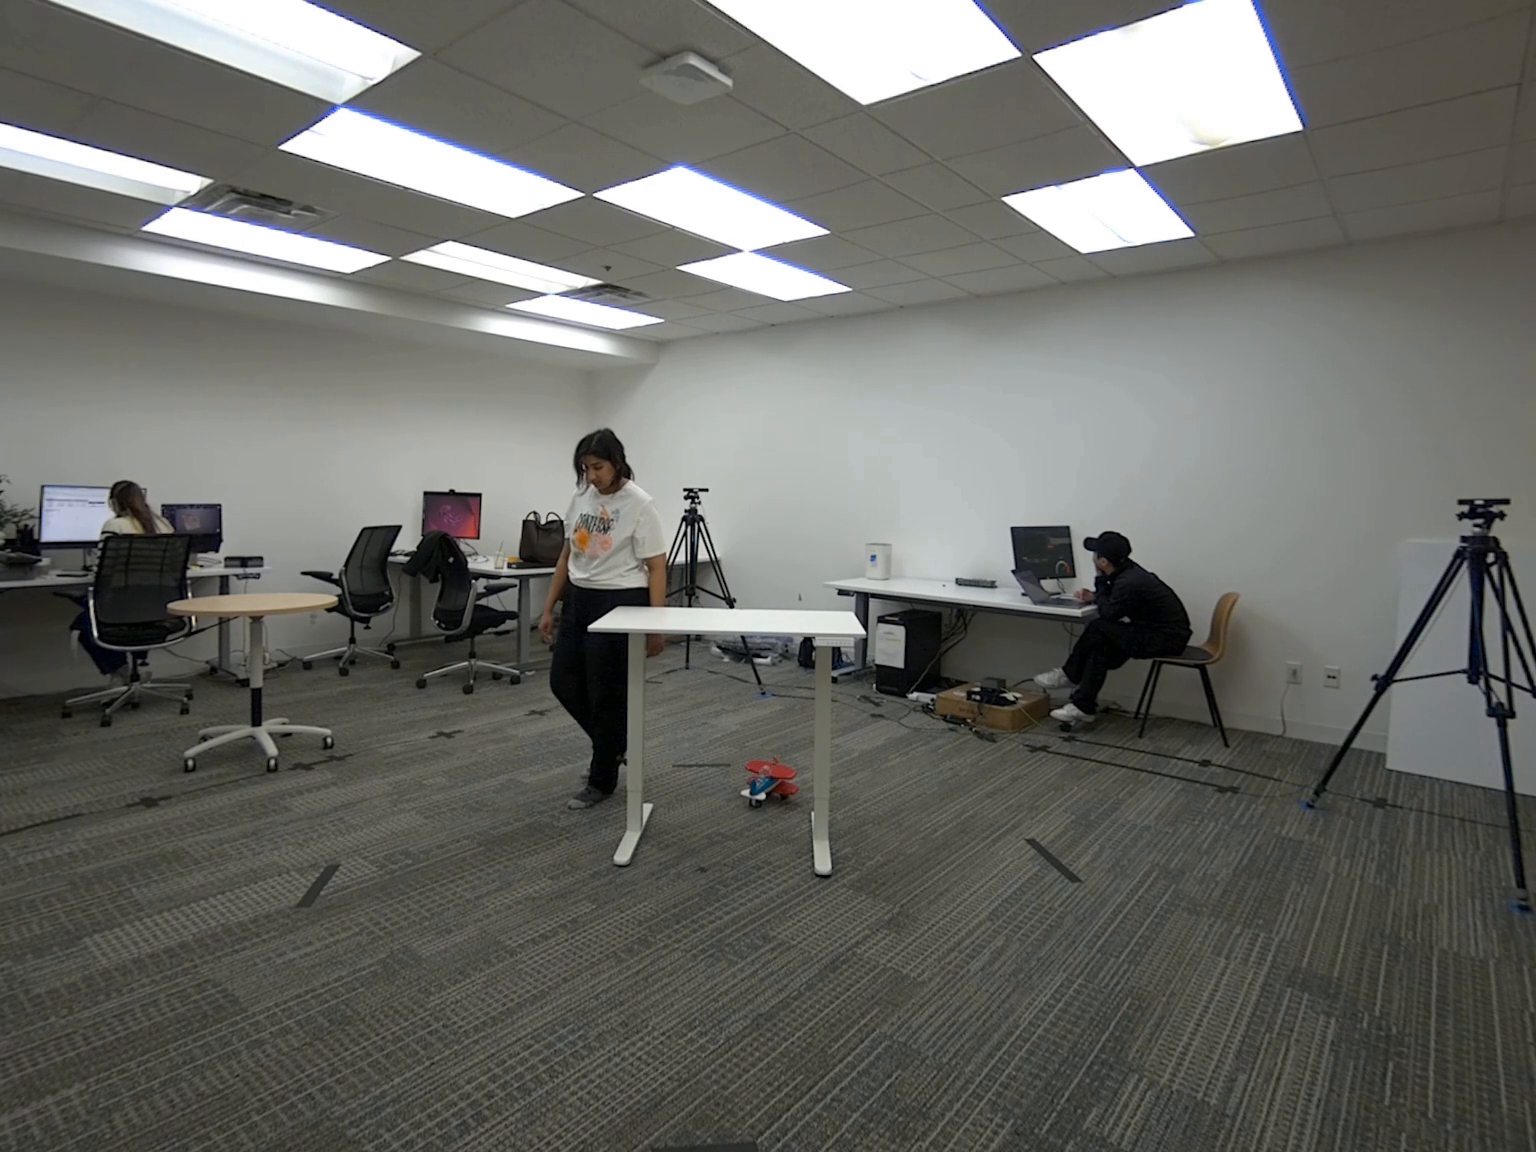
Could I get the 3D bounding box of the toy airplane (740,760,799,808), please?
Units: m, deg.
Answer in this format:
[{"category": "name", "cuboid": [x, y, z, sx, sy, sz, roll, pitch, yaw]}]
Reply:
[{"category": "toy airplane", "cuboid": [0.002, 0.933, 3.806, 0.253, 0.156, 0.257, 2, 3, 7]}]
